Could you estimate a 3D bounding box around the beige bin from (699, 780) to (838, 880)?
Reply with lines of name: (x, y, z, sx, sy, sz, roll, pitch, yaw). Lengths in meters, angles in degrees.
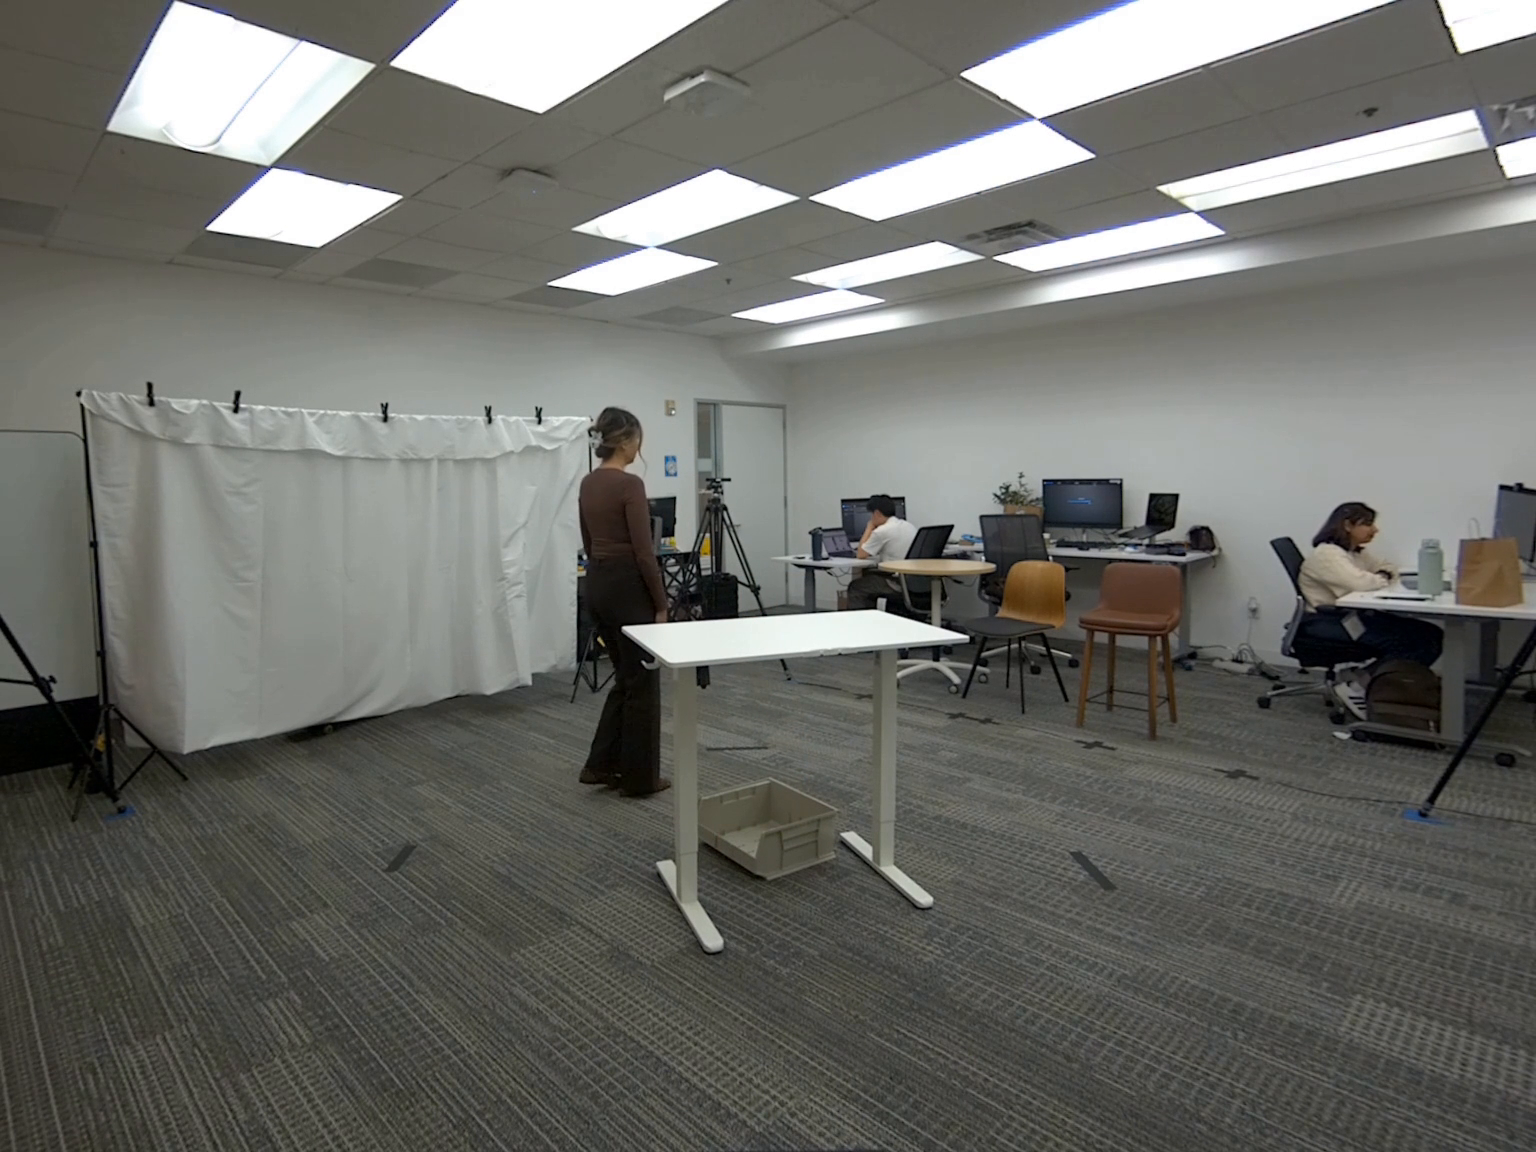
beige bin: (-0.012, 0.945, 3.204, 0.368, 0.188, 0.435, -4, 6, -36)
